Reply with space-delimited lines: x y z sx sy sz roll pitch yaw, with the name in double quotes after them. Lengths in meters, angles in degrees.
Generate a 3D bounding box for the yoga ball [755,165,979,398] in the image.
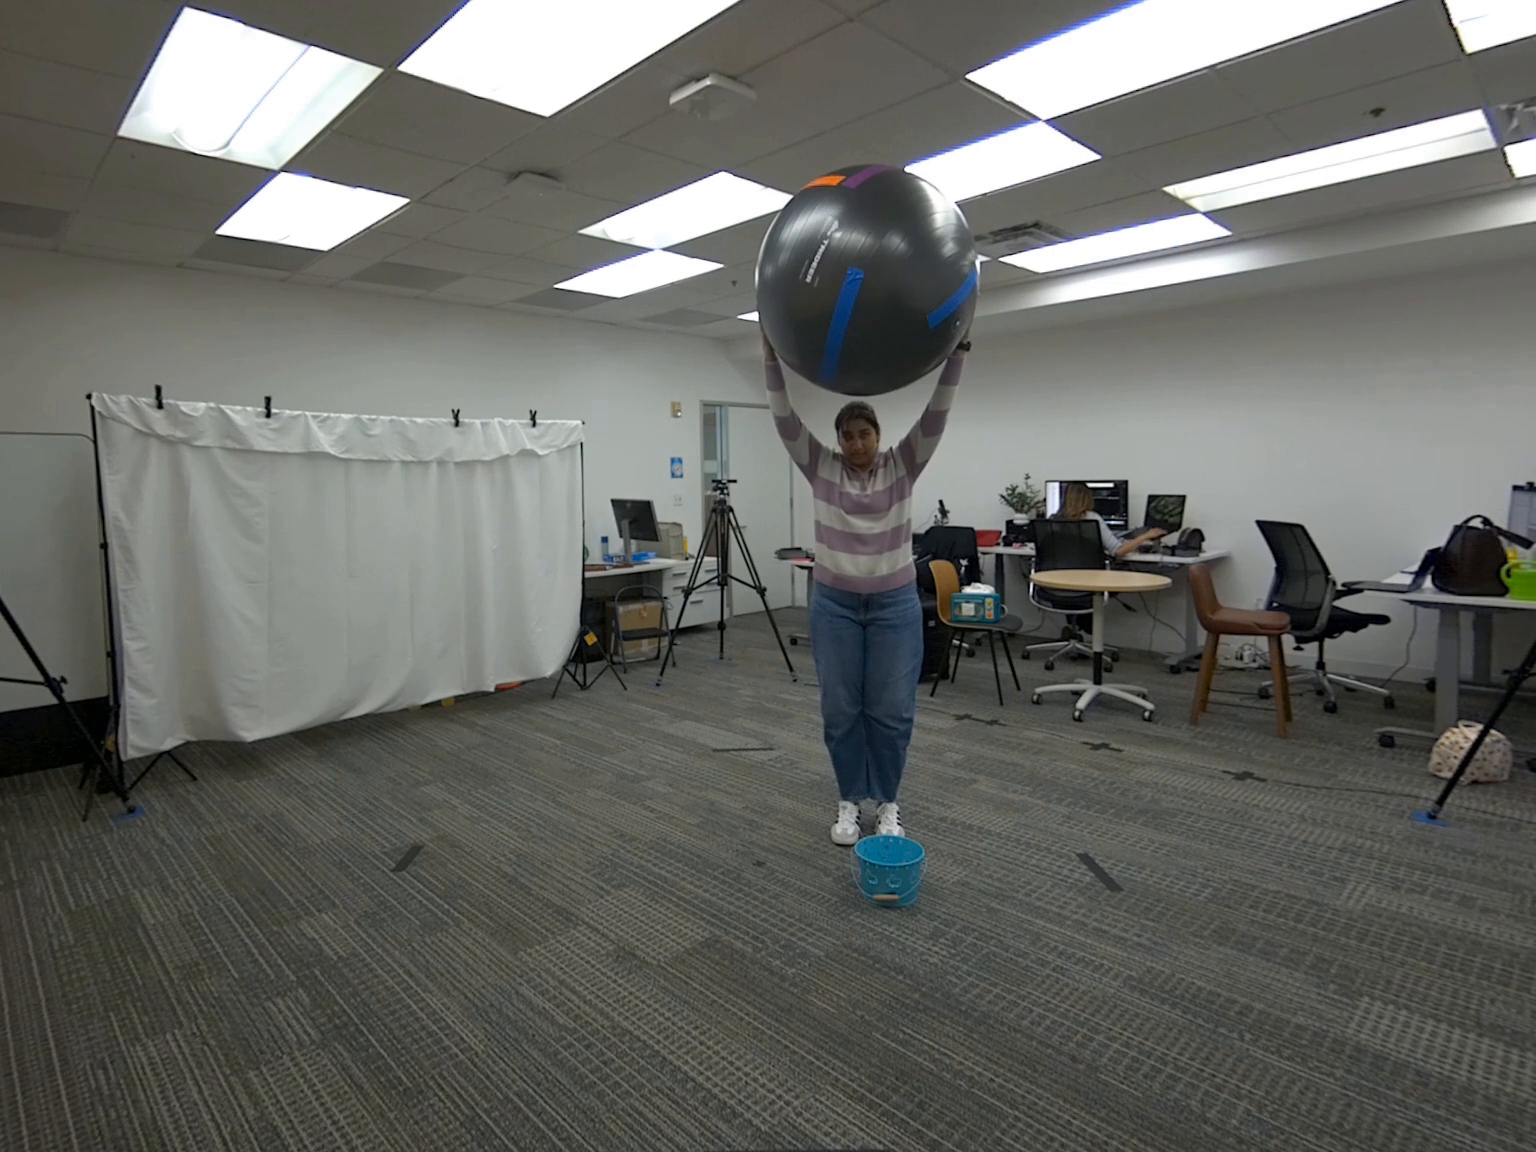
0.333 -0.992 2.929 0.757 0.755 0.762 -1 5 -2 "yoga ball"
